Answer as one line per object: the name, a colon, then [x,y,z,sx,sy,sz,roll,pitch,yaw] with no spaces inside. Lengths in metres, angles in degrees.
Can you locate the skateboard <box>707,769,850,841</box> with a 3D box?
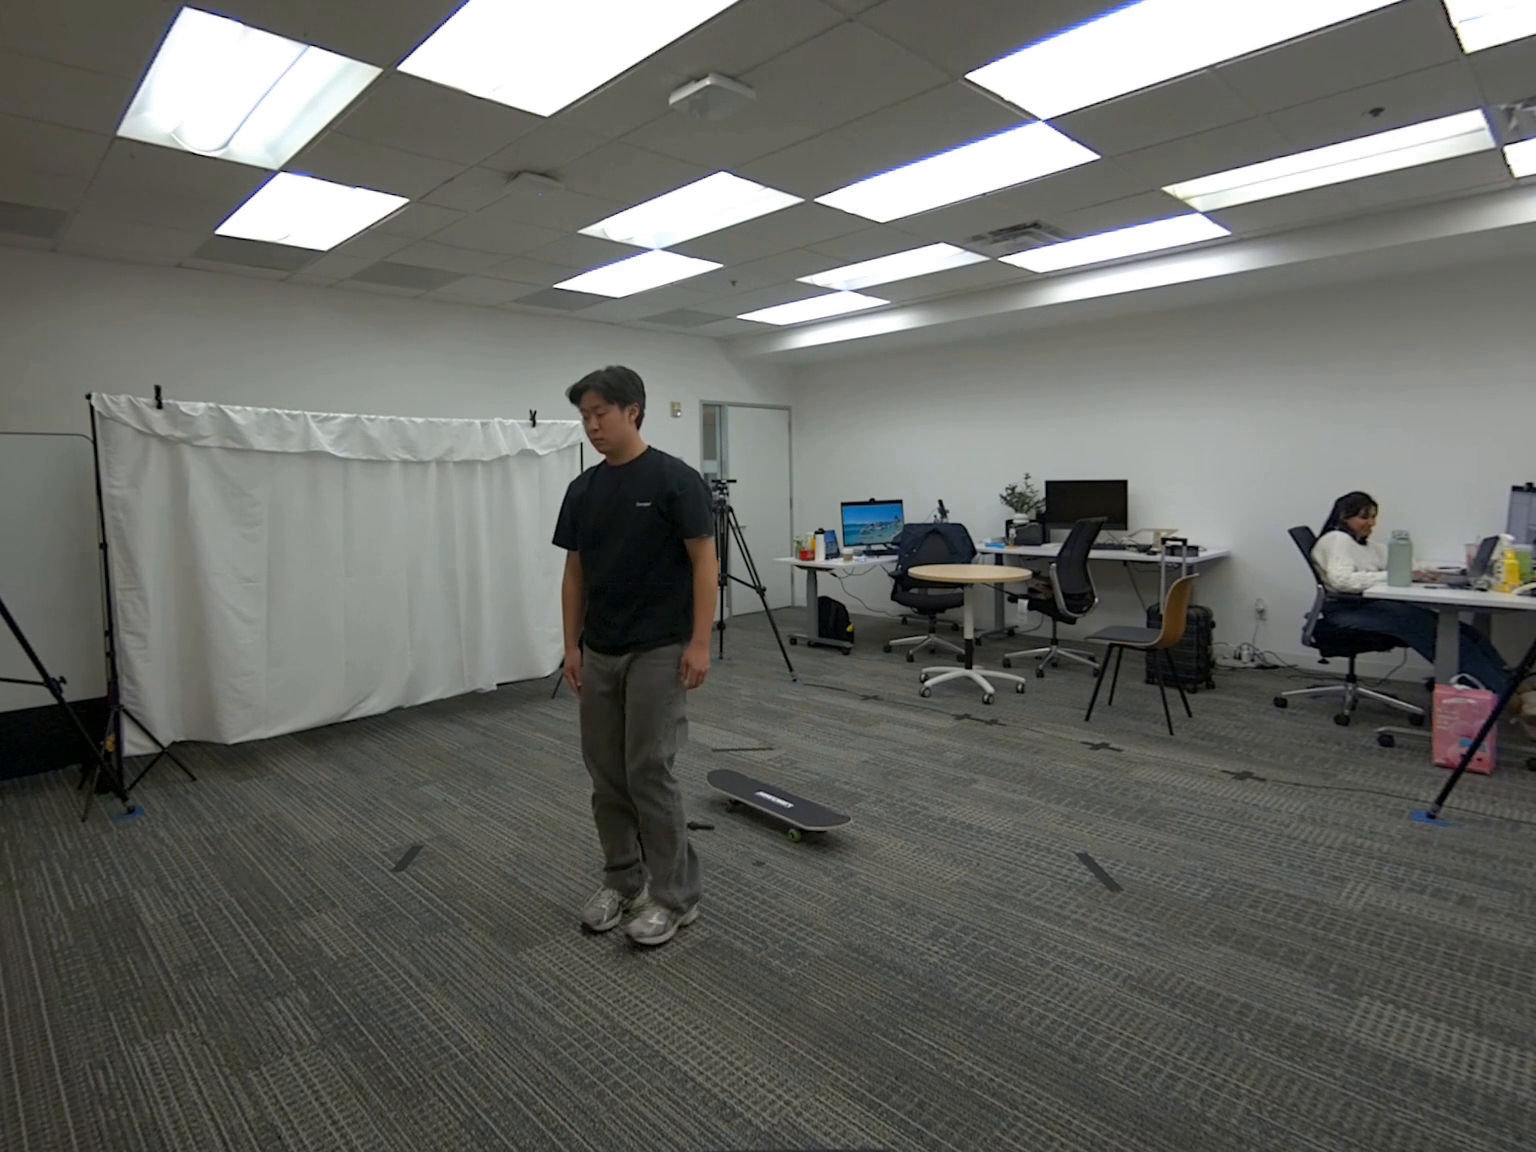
skateboard: [0.031,0.946,3.492,0.188,0.110,0.810,-6,8,-40]
